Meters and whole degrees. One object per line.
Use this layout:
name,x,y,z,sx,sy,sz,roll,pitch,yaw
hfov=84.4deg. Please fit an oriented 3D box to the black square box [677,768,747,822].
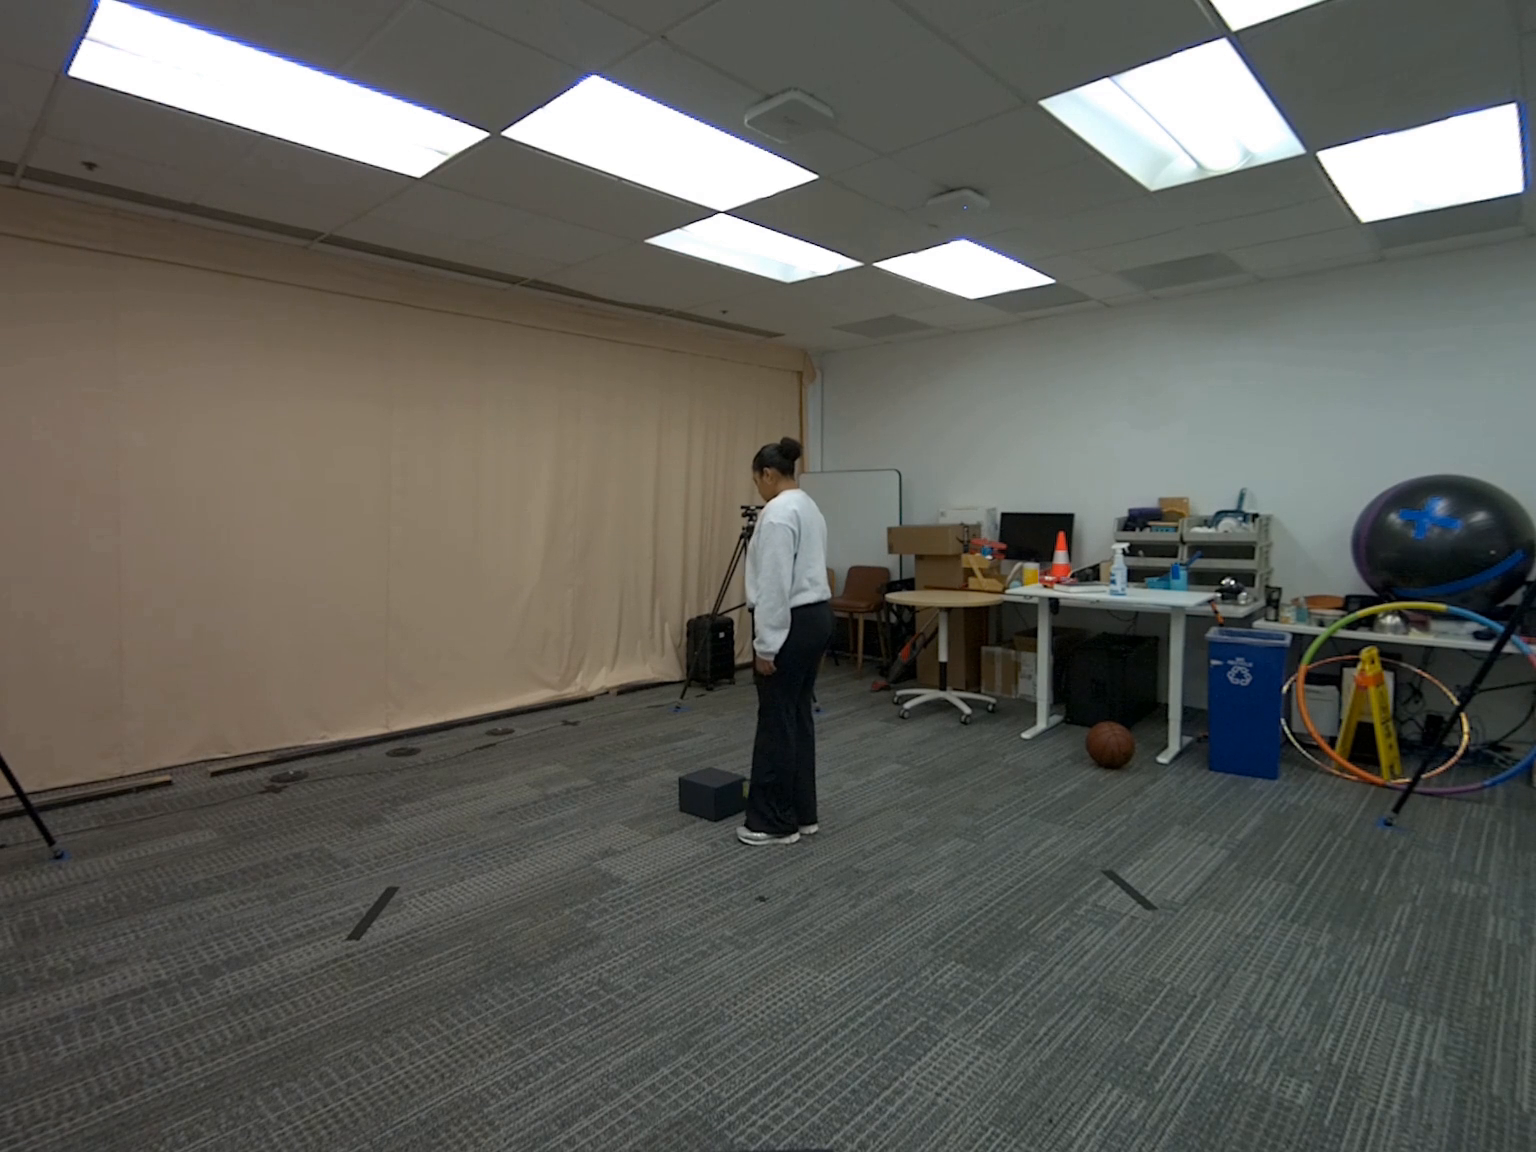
black square box,-0.249,0.991,3.851,0.235,0.155,0.210,3,5,40
